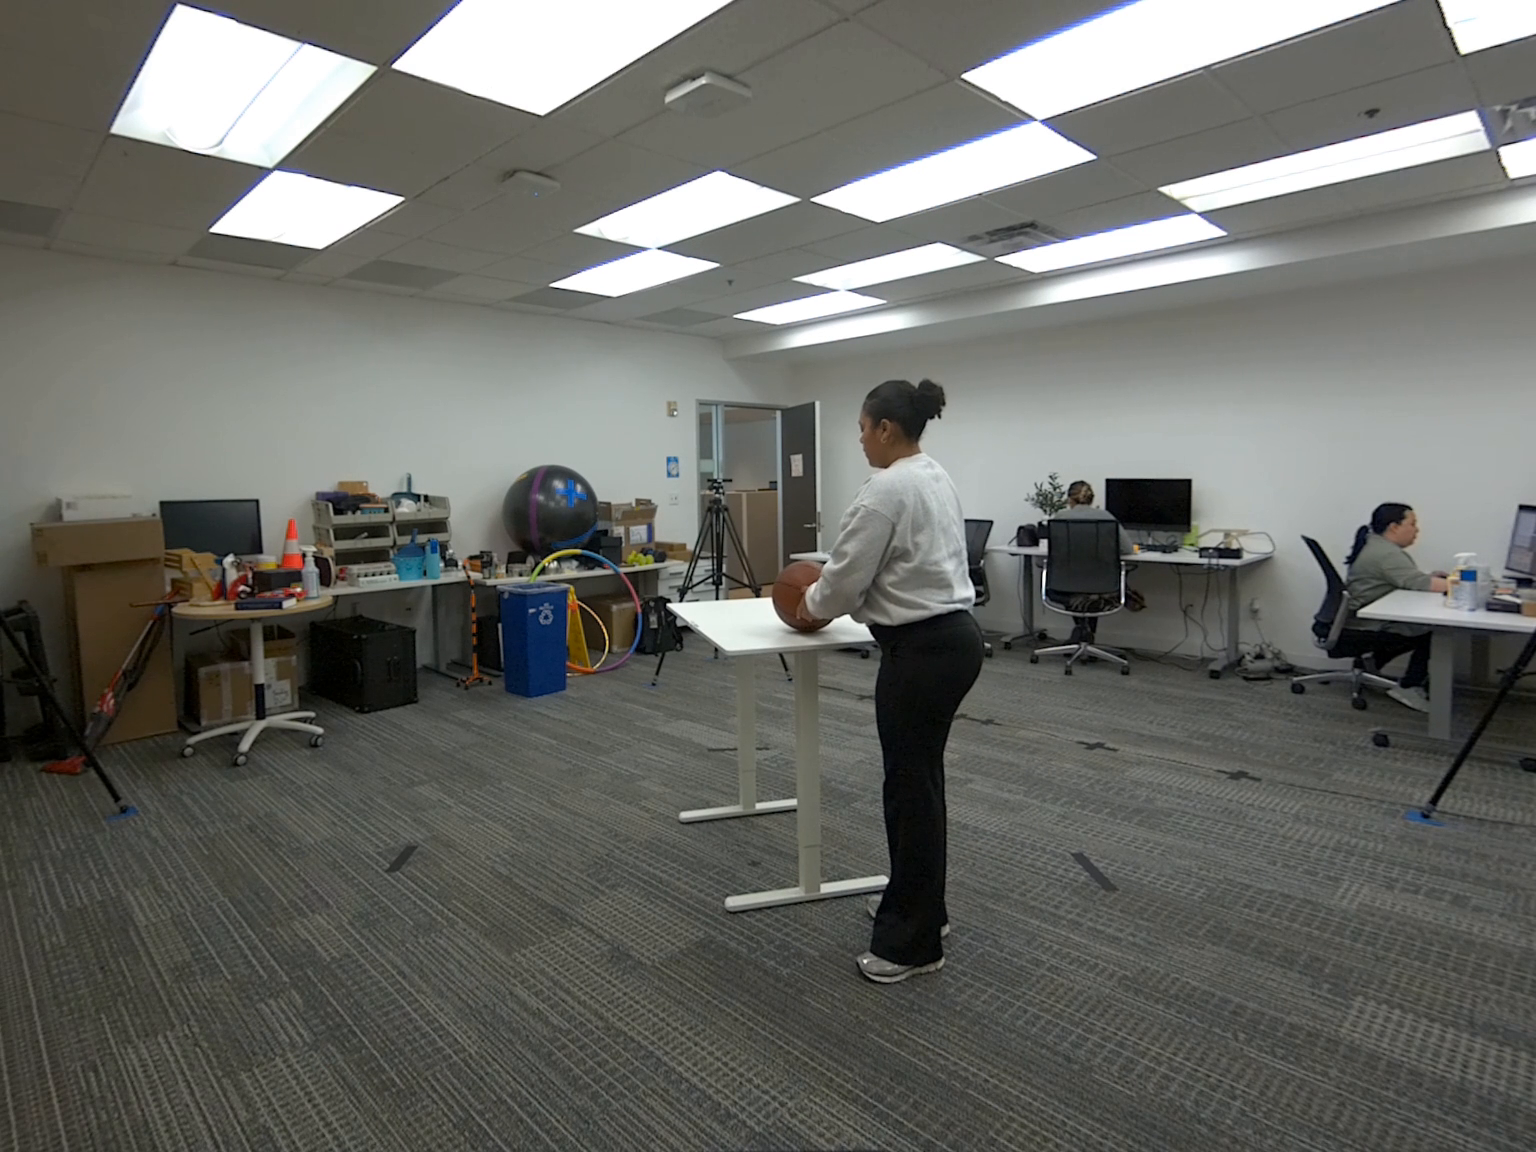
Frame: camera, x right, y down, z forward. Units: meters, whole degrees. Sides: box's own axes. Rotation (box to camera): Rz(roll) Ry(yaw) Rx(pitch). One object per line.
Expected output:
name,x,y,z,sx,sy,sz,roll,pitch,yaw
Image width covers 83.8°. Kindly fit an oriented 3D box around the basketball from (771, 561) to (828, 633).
basketball,0.134,0.064,2.886,0.236,0.235,0.237,-1,5,-2
